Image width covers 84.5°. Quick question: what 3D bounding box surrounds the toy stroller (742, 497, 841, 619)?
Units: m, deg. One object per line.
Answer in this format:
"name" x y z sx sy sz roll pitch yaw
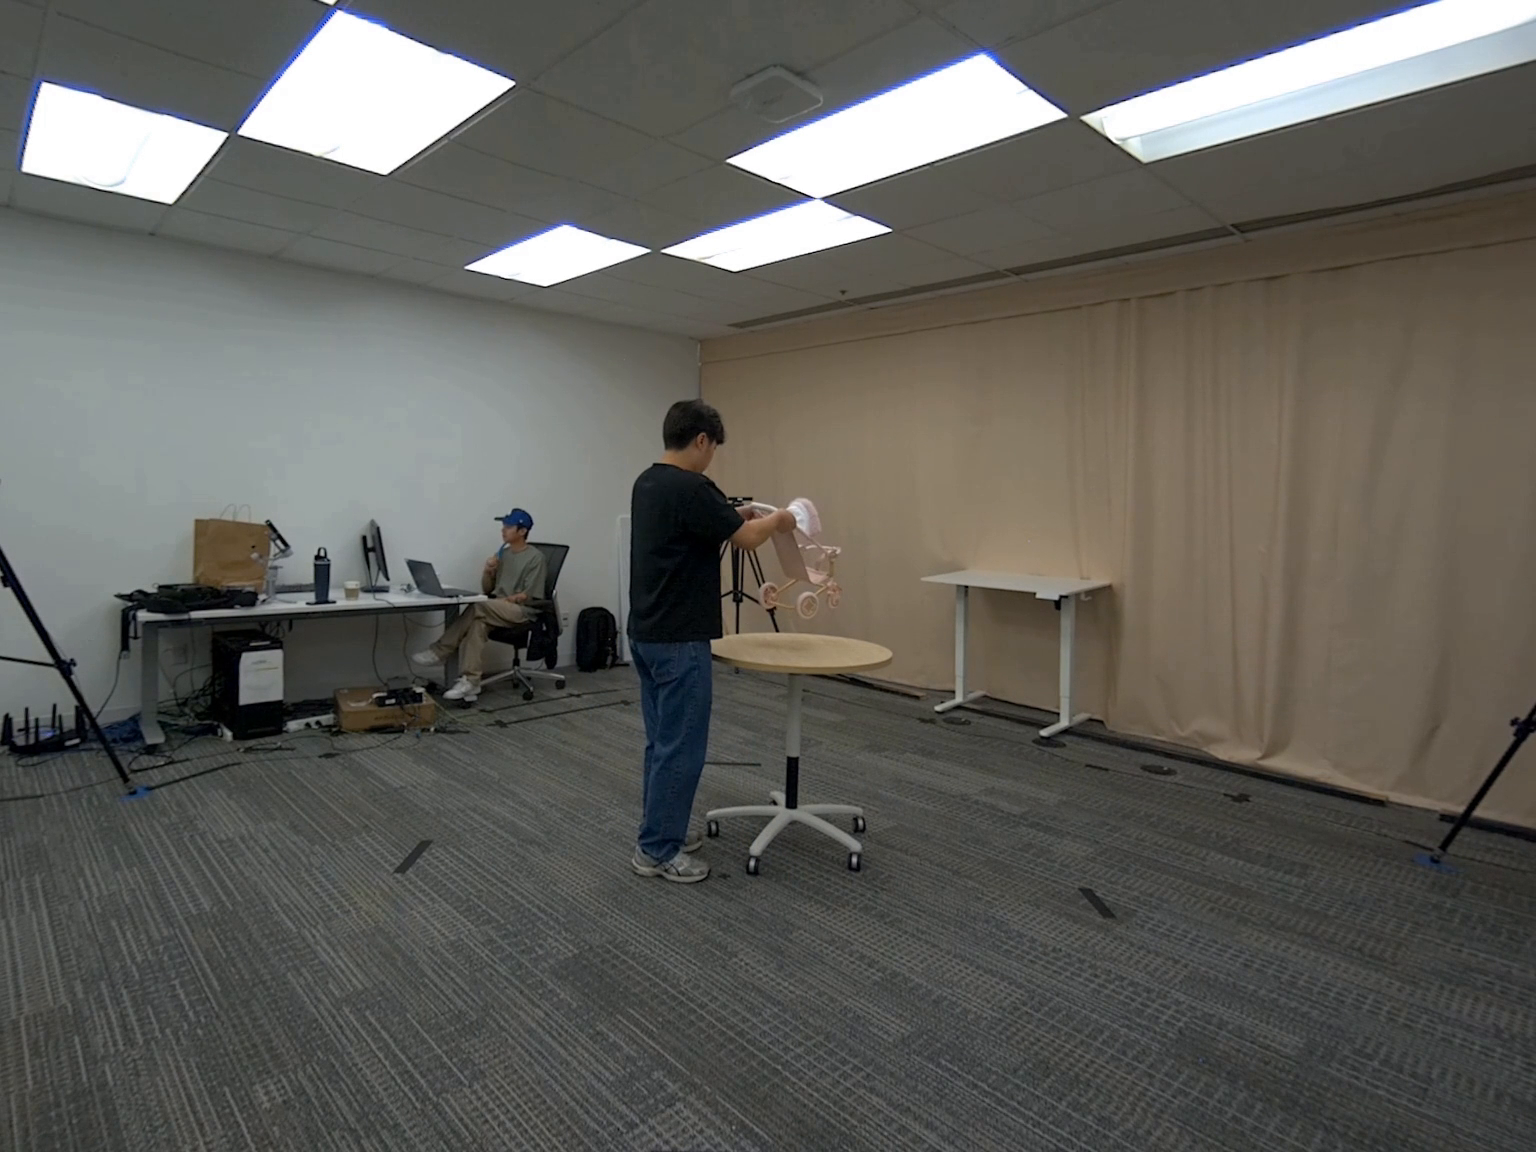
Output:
"toy stroller" 0.134 -0.072 3.458 0.337 0.528 0.288 -19 16 -29
